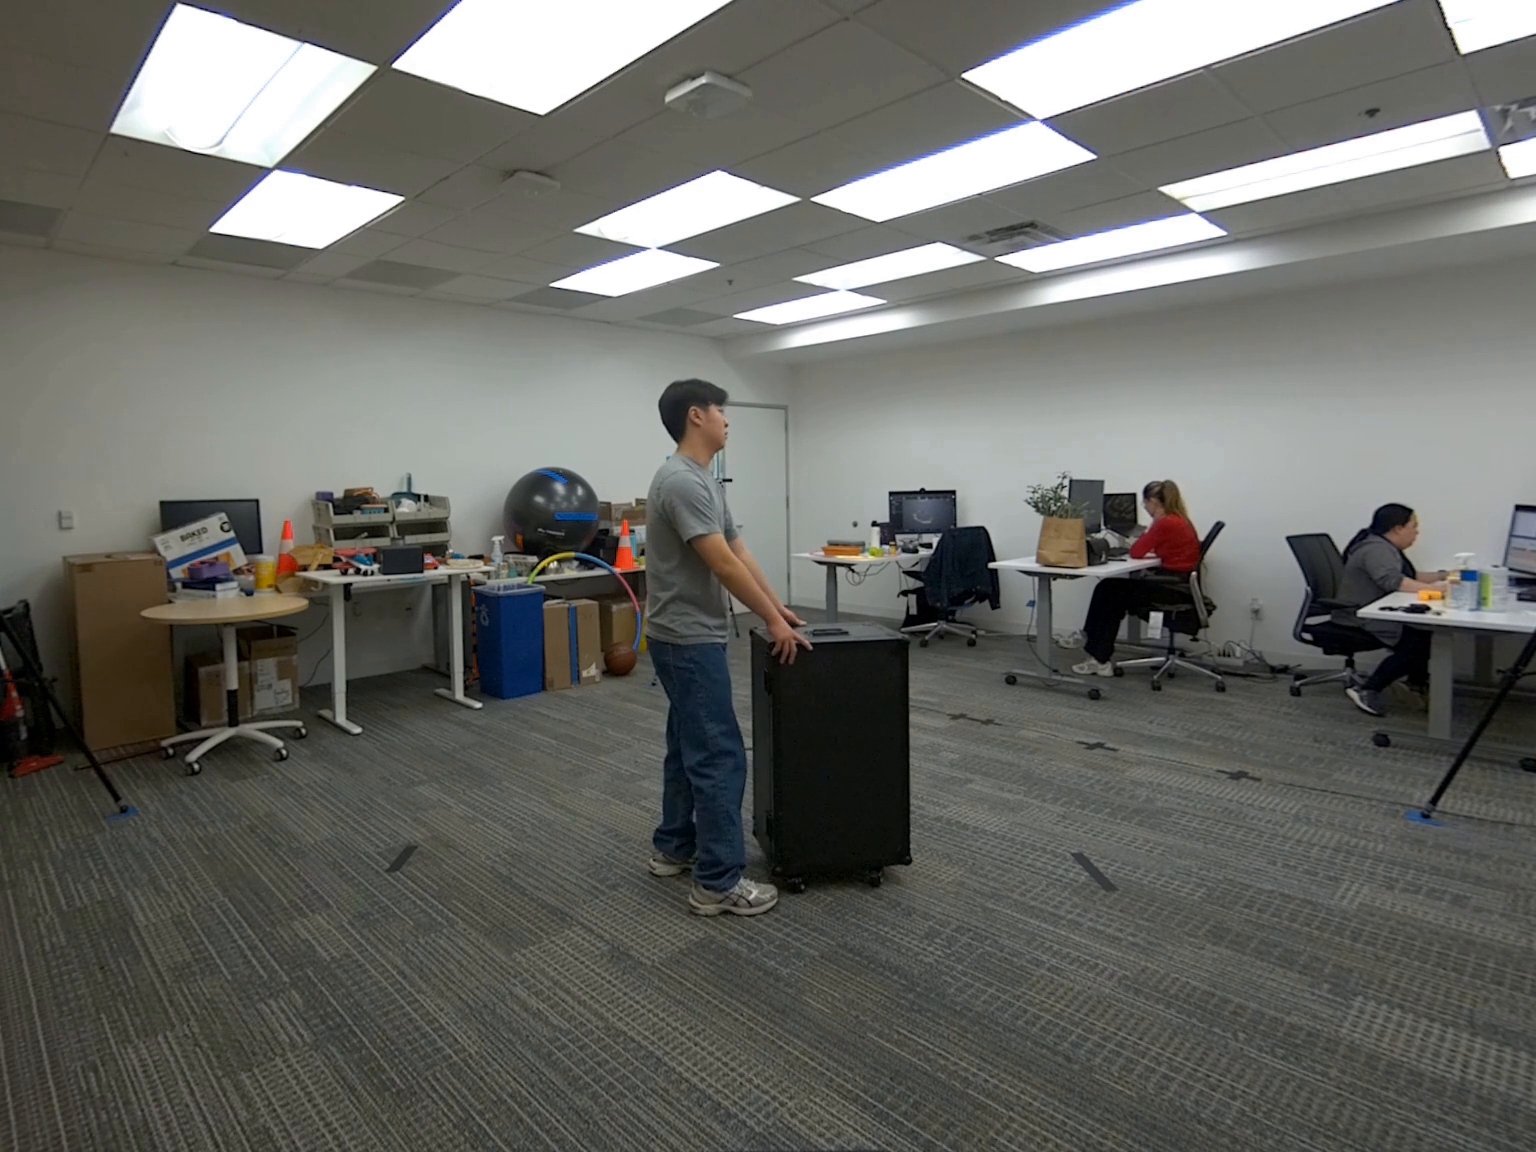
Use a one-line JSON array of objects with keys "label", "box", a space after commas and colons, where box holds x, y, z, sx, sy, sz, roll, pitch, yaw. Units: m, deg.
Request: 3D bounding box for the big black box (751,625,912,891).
[{"label": "big black box", "box": [0.203, 0.630, 3.049, 0.516, 0.860, 0.400, -1, 2, -10]}]
